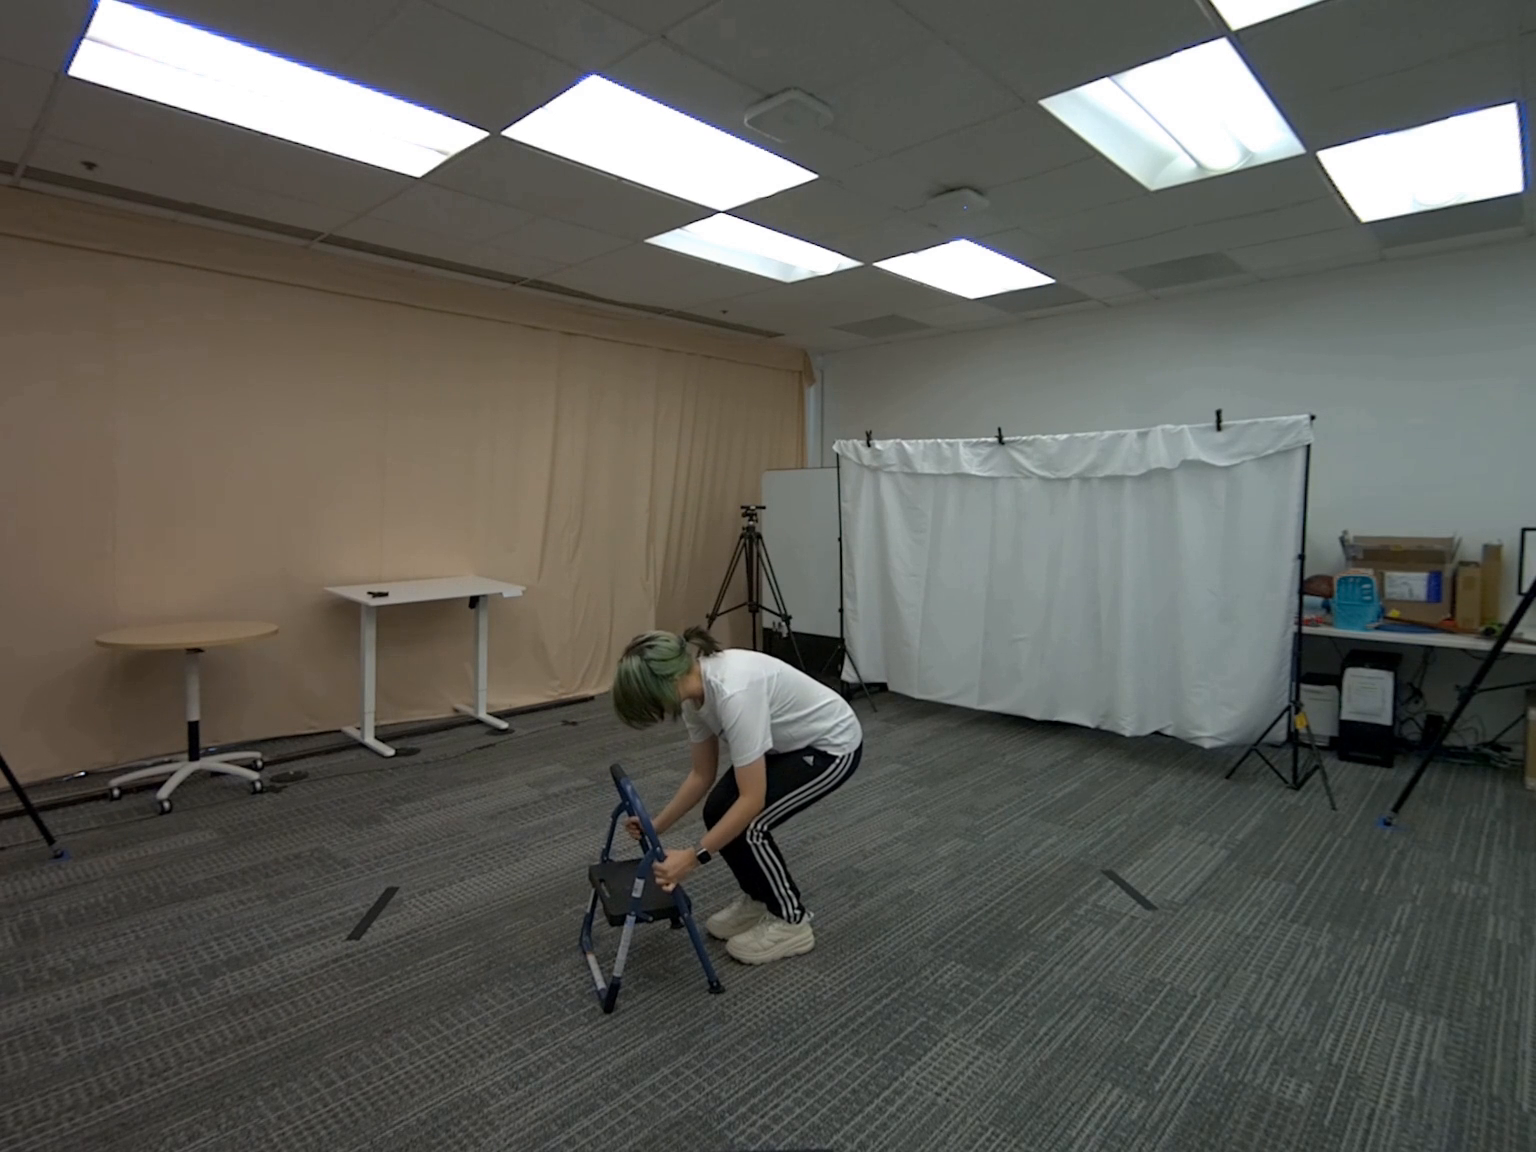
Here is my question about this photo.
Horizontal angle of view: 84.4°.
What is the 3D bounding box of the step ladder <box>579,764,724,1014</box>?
[{"bbox_3d":[-0.368,0.884,2.536,0.342,0.605,0.441,-2,4,-22],"label":"step ladder"}]
